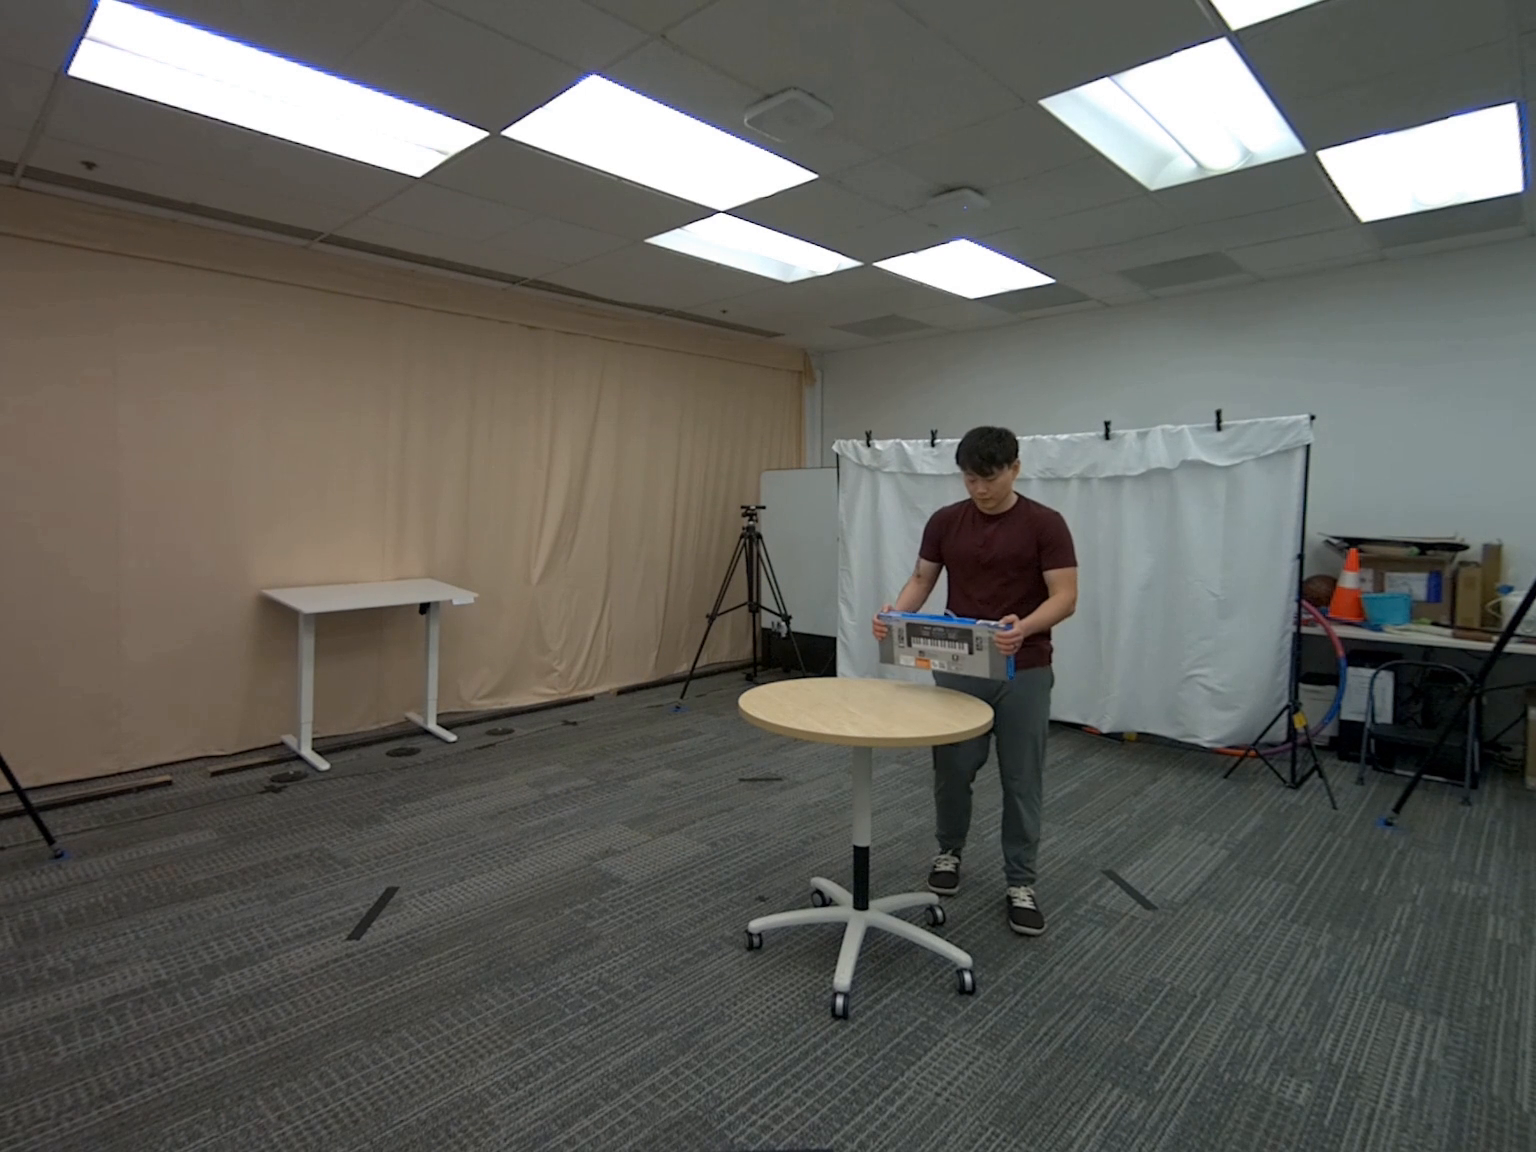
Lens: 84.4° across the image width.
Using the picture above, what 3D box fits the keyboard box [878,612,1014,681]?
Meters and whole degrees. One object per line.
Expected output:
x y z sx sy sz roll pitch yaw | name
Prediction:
0.573 0.226 2.723 0.451 0.174 0.058 4 14 37 | keyboard box
